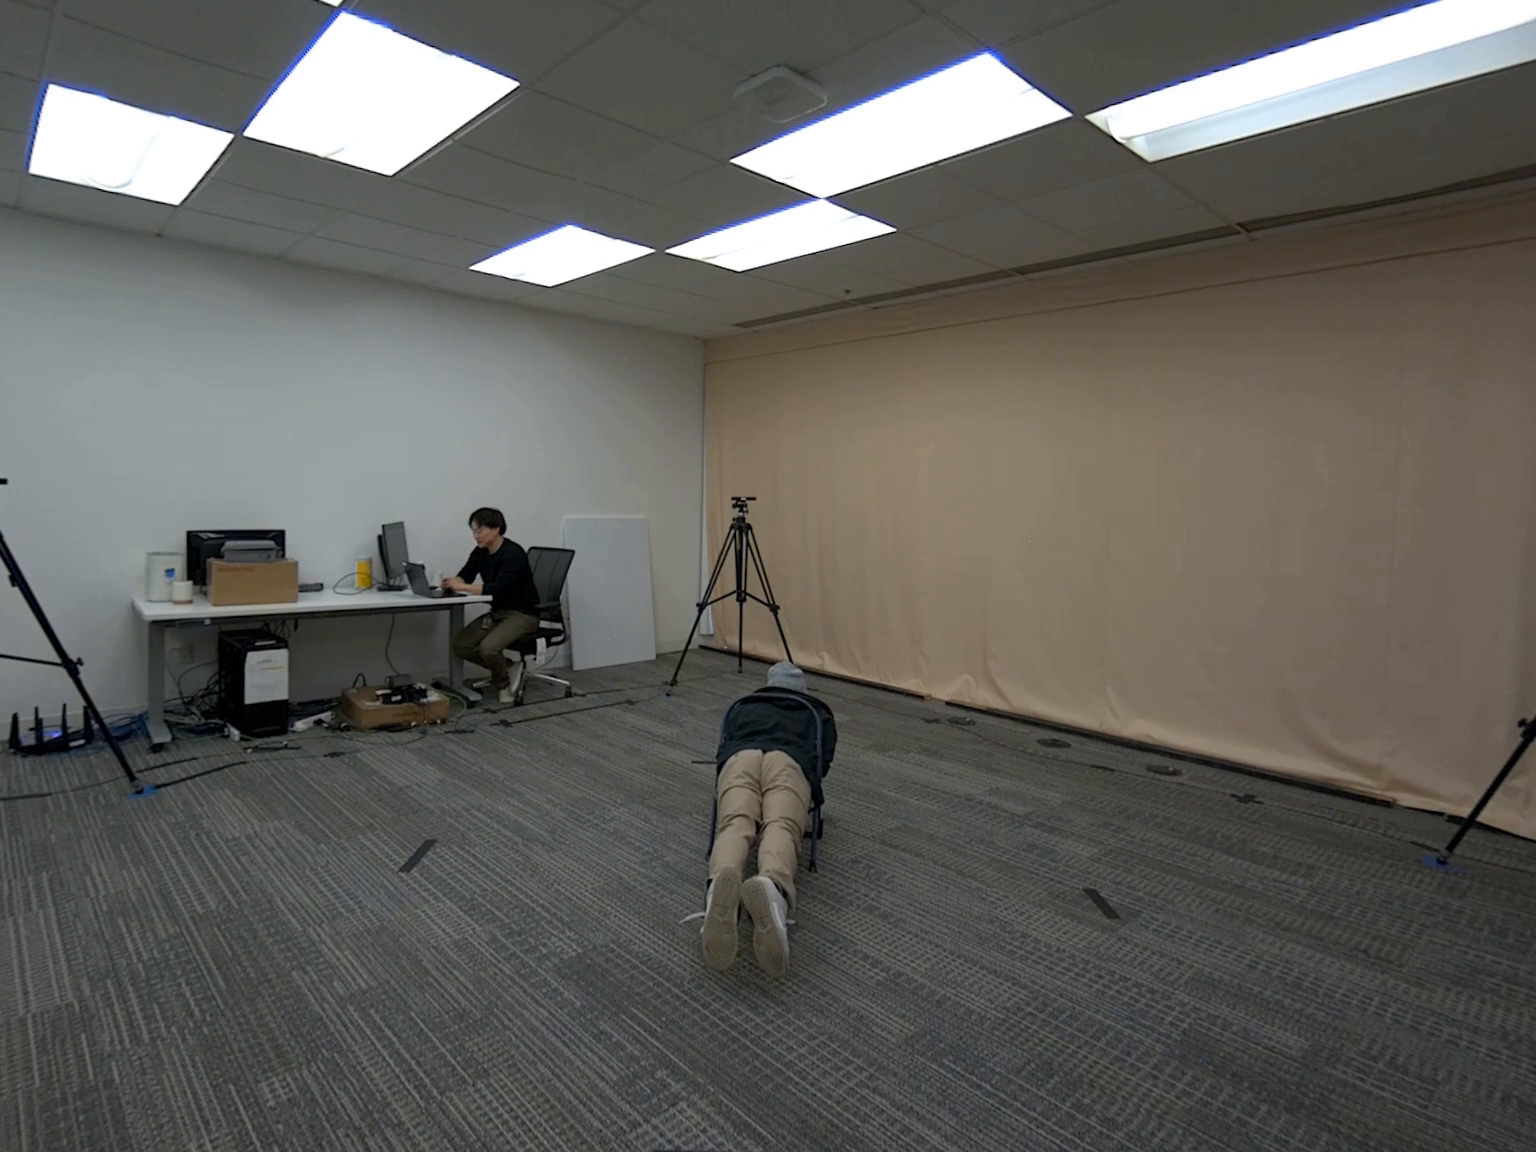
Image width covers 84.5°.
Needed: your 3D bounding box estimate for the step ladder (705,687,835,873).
[{"bbox_3d":[-0.006,0.791,3.351,0.434,0.605,0.347,2,2,9],"label":"step ladder"}]
